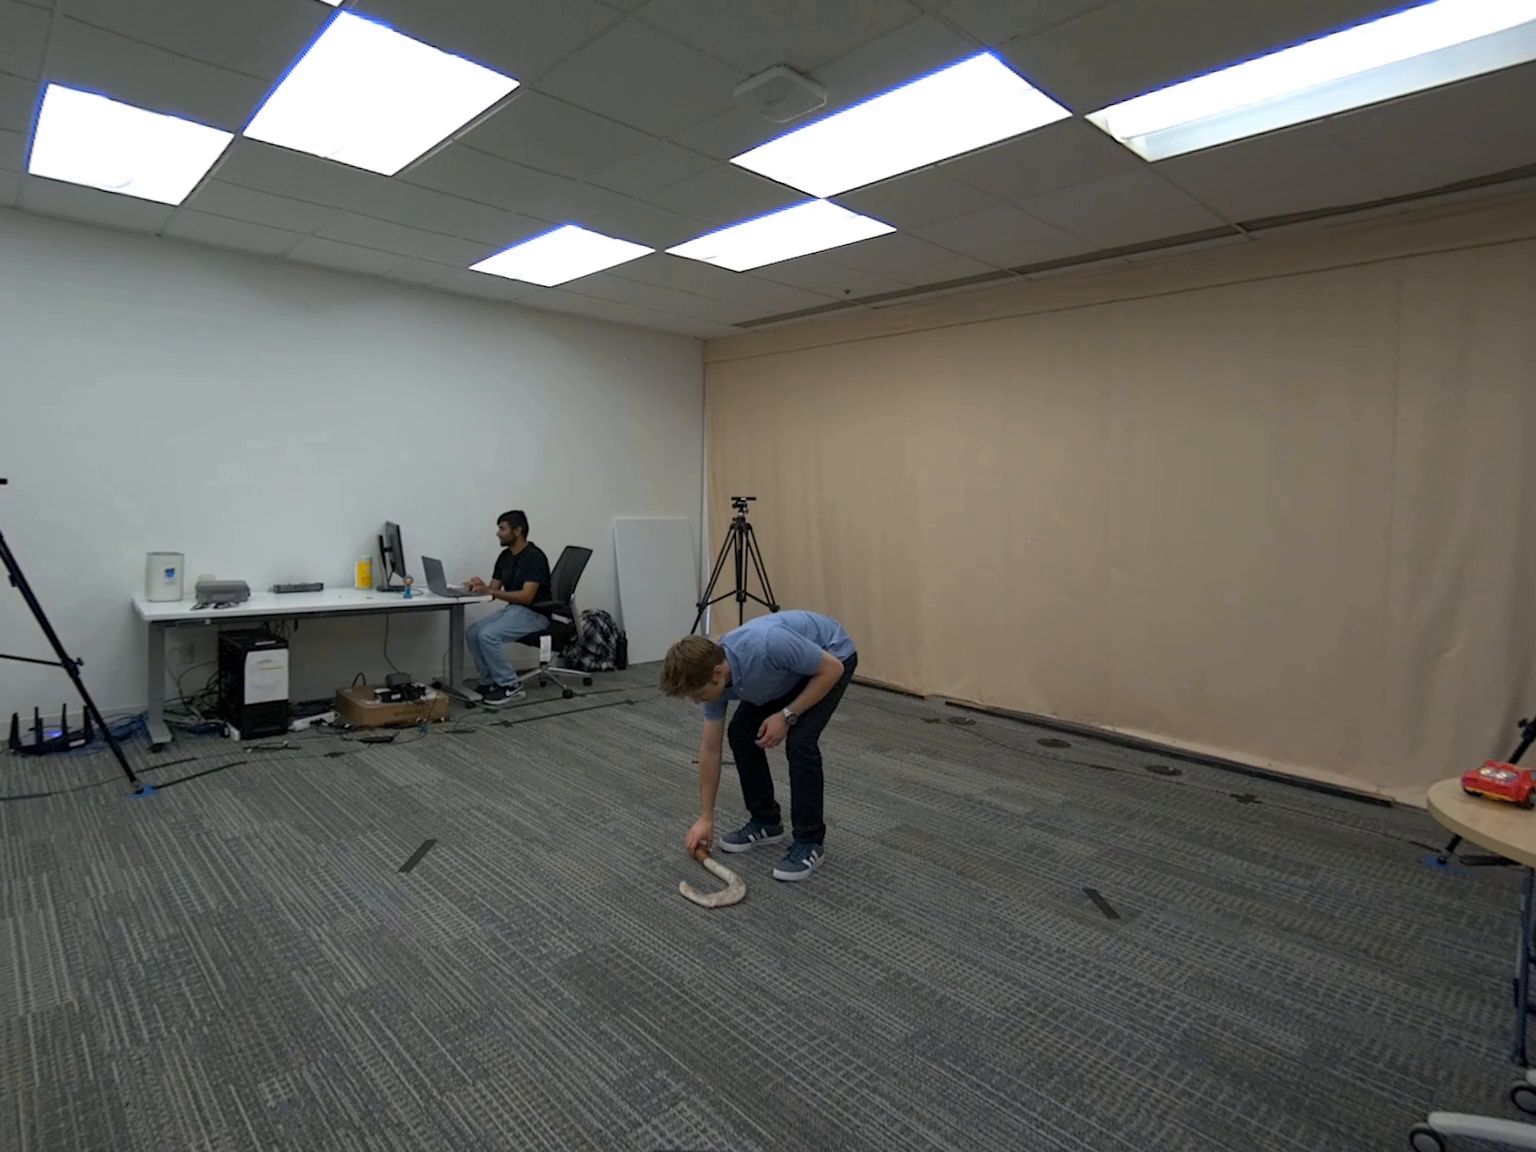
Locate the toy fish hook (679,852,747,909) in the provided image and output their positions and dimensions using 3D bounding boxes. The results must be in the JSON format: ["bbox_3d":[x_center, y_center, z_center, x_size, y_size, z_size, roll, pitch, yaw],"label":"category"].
[{"bbox_3d":[-0.250,1.080,3.093,0.221,0.048,0.516,2,5,-22],"label":"toy fish hook"}]
